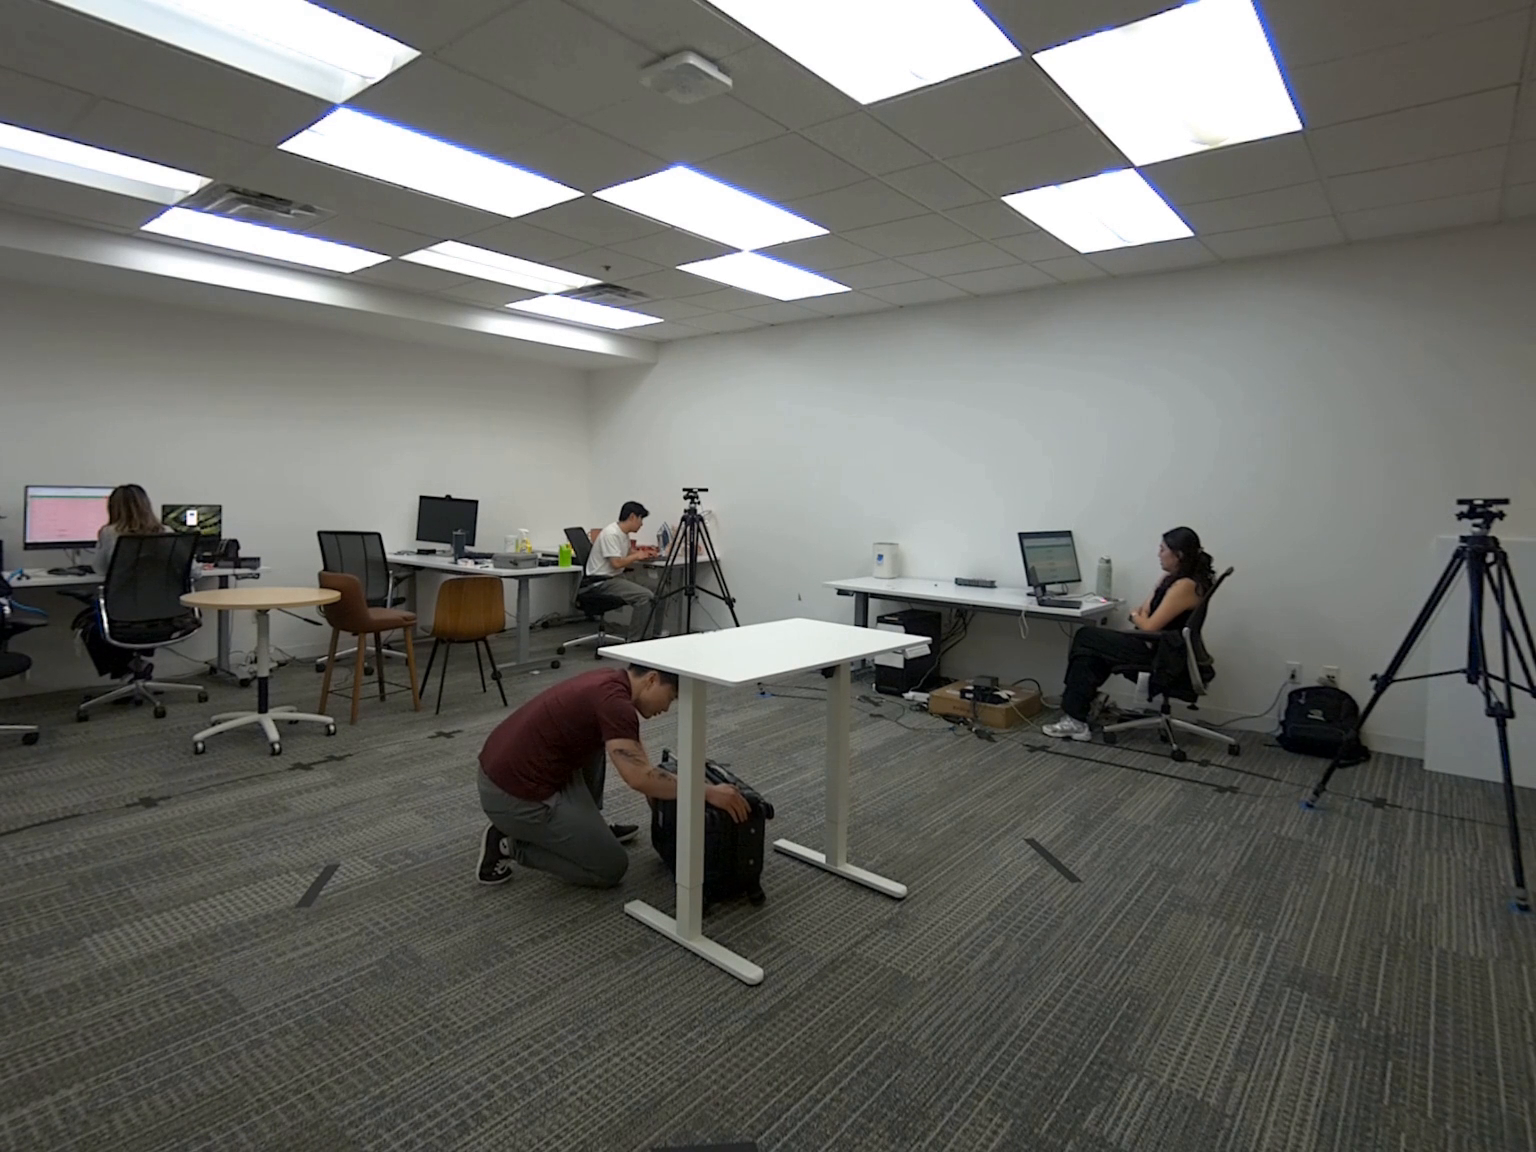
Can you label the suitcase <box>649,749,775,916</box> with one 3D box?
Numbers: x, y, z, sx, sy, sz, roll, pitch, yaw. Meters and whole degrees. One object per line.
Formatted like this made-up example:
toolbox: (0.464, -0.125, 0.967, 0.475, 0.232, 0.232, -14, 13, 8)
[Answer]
suitcase: (-0.331, 0.863, 3.219, 0.250, 0.383, 1.008, 3, 5, -28)
